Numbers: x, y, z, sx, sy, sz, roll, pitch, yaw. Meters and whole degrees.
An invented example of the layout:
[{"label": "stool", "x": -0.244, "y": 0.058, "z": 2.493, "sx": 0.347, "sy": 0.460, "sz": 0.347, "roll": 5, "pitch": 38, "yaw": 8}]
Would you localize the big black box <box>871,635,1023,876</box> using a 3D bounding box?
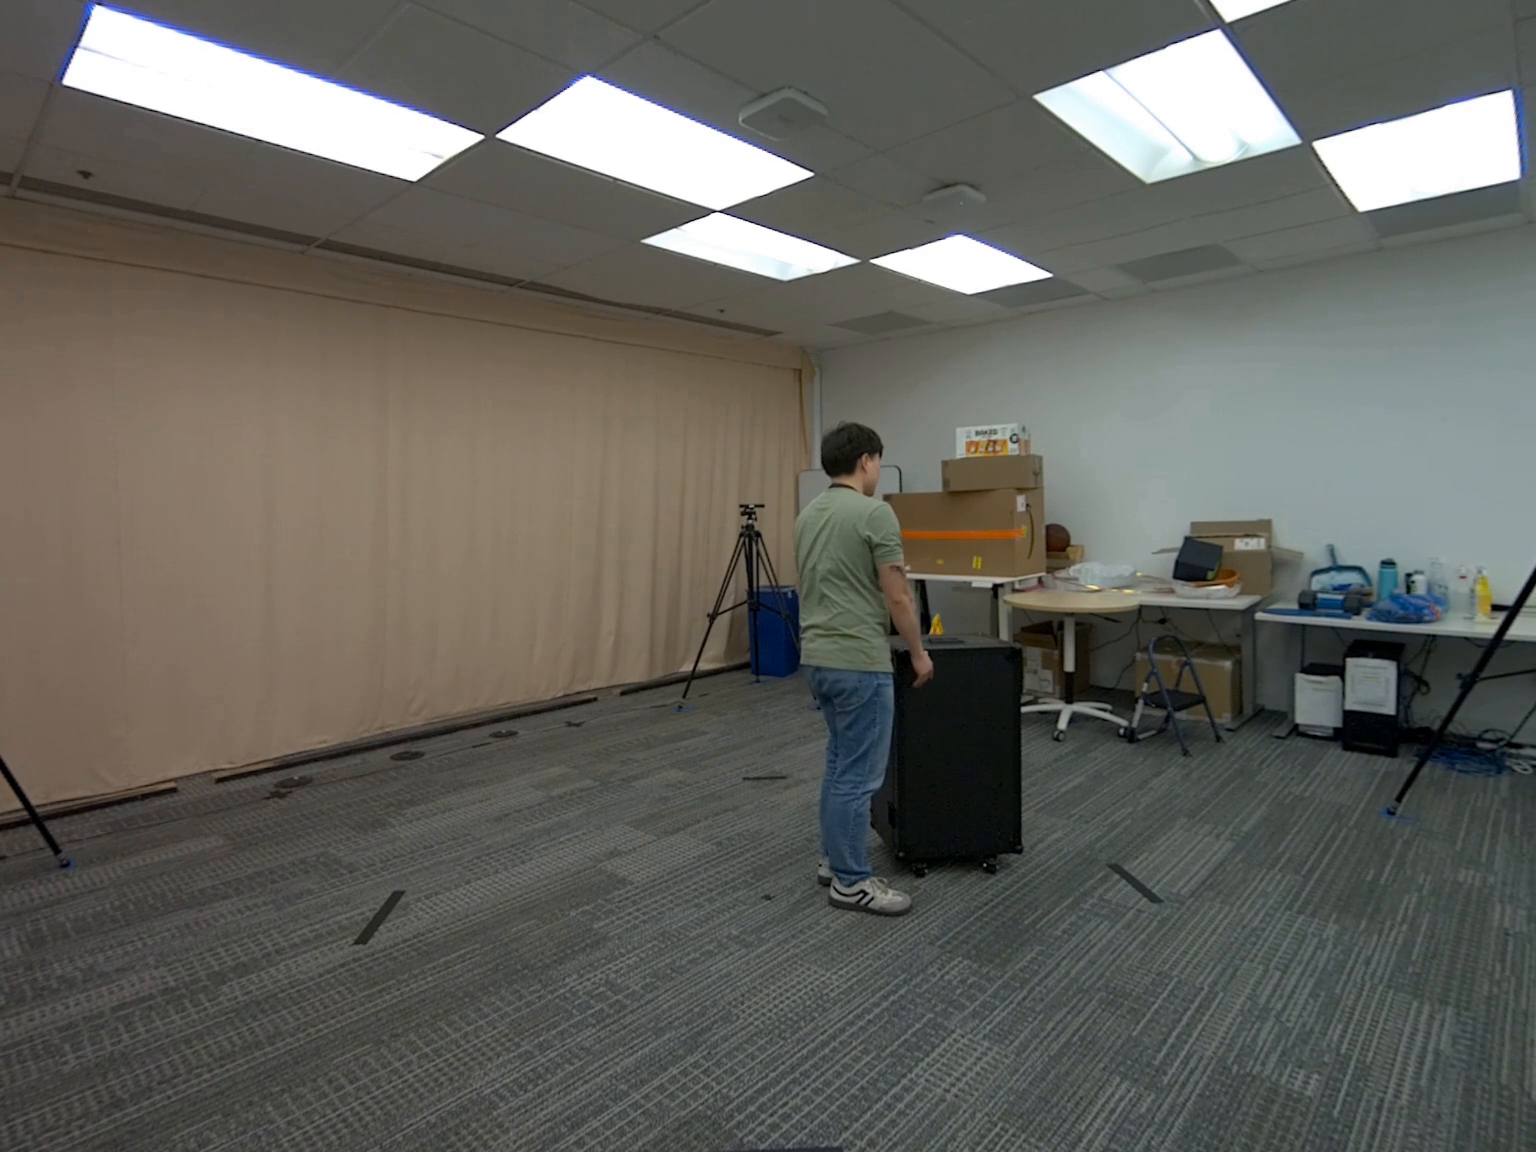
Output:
[{"label": "big black box", "x": 0.679, "y": 0.676, "z": 3.293, "sx": 0.518, "sy": 0.860, "sz": 0.399, "roll": -1, "pitch": 2, "yaw": -6}]
